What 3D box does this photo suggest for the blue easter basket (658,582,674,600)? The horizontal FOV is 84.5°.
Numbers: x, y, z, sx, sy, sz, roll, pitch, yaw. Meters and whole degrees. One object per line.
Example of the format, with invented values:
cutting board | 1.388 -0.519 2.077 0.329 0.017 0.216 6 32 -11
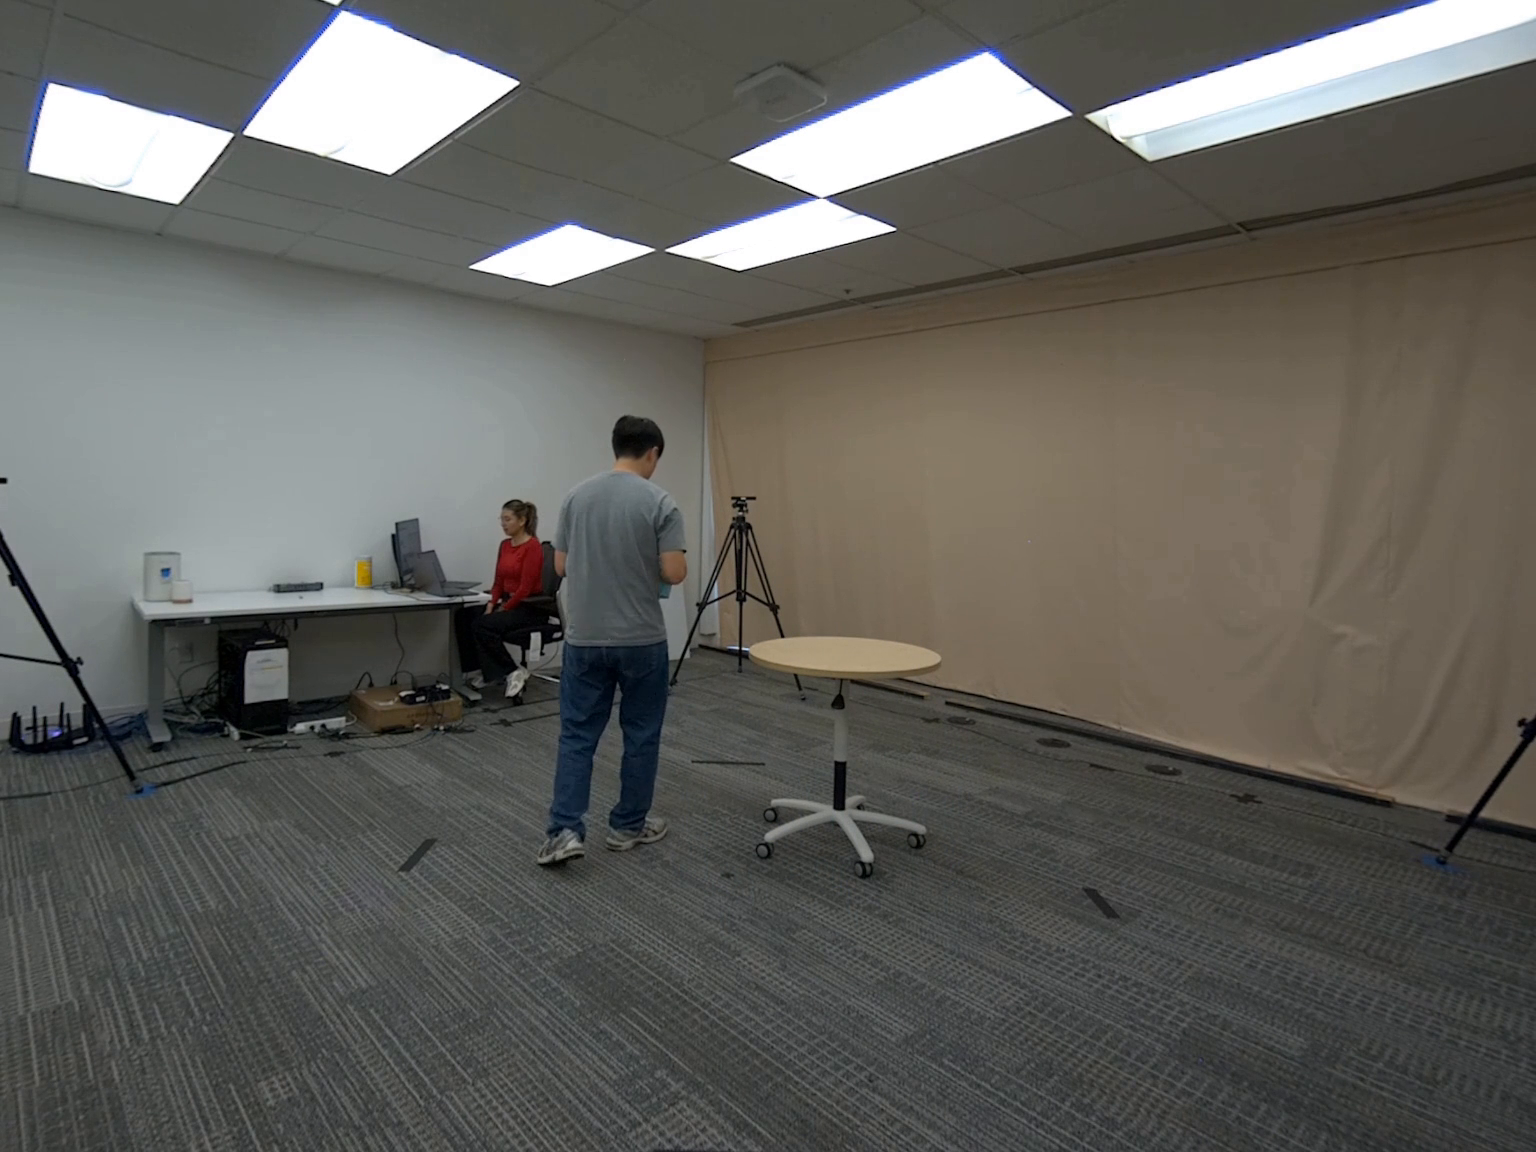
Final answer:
blue easter basket | -0.505 0.007 3.513 0.243 0.157 0.242 3 -6 -1
